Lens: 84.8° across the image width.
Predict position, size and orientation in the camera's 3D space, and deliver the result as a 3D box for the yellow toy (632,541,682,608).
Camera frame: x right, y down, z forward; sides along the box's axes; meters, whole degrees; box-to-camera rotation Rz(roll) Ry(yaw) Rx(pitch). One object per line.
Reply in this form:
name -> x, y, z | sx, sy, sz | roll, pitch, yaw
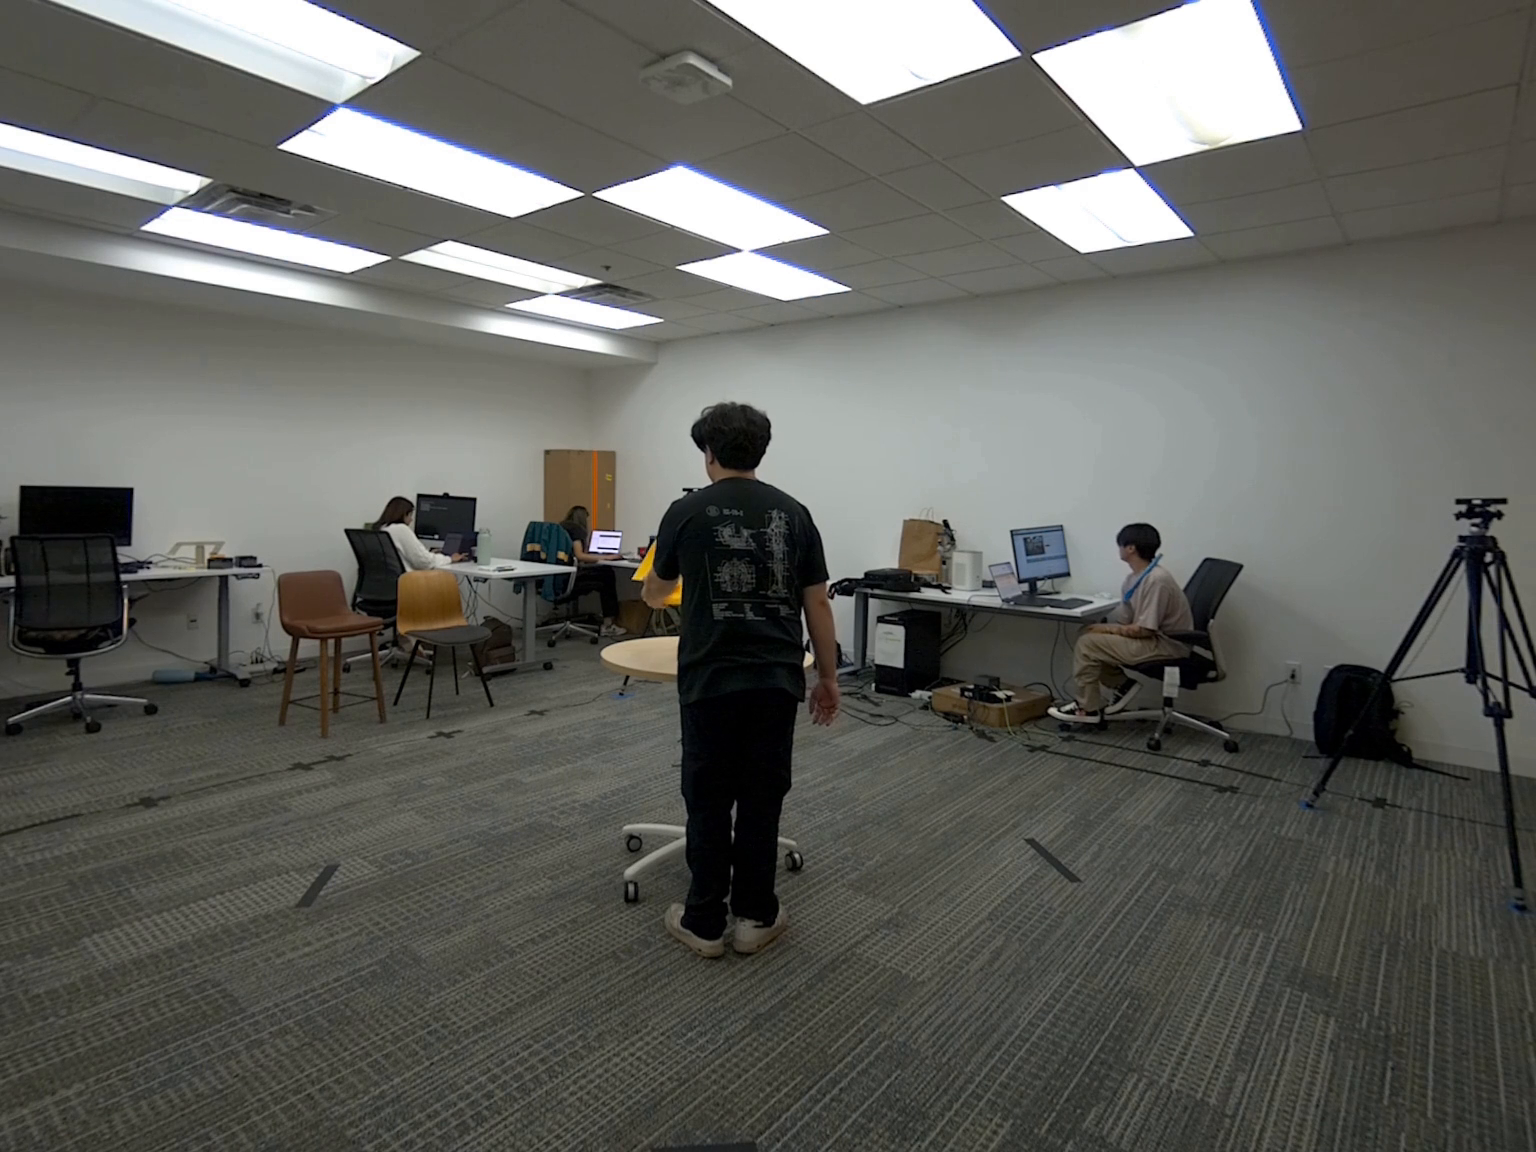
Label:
yellow toy -> -0.373, -0.032, 3.123 | 0.211, 0.230, 0.187 | 3, 5, 43
